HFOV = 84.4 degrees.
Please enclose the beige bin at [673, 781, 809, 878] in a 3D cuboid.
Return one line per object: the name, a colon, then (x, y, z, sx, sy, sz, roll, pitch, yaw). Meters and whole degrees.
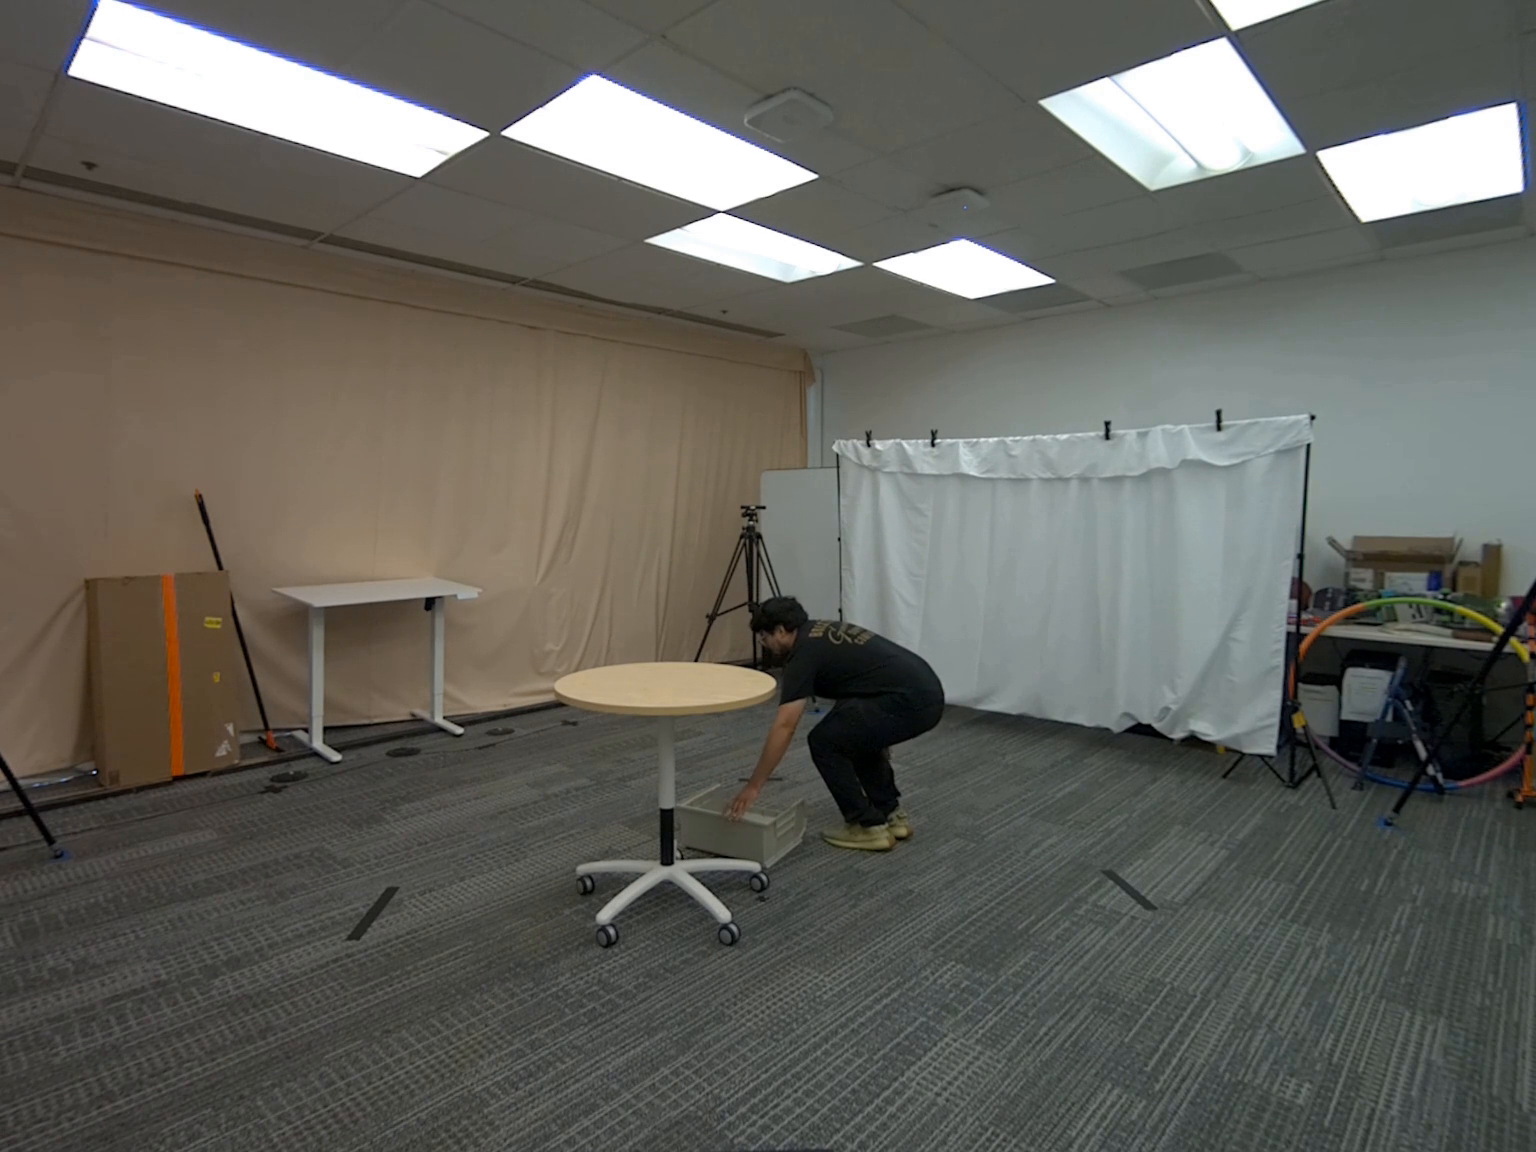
beige bin: (-0.107, 1.020, 3.464, 0.434, 0.188, 0.368, 2, 6, 27)
